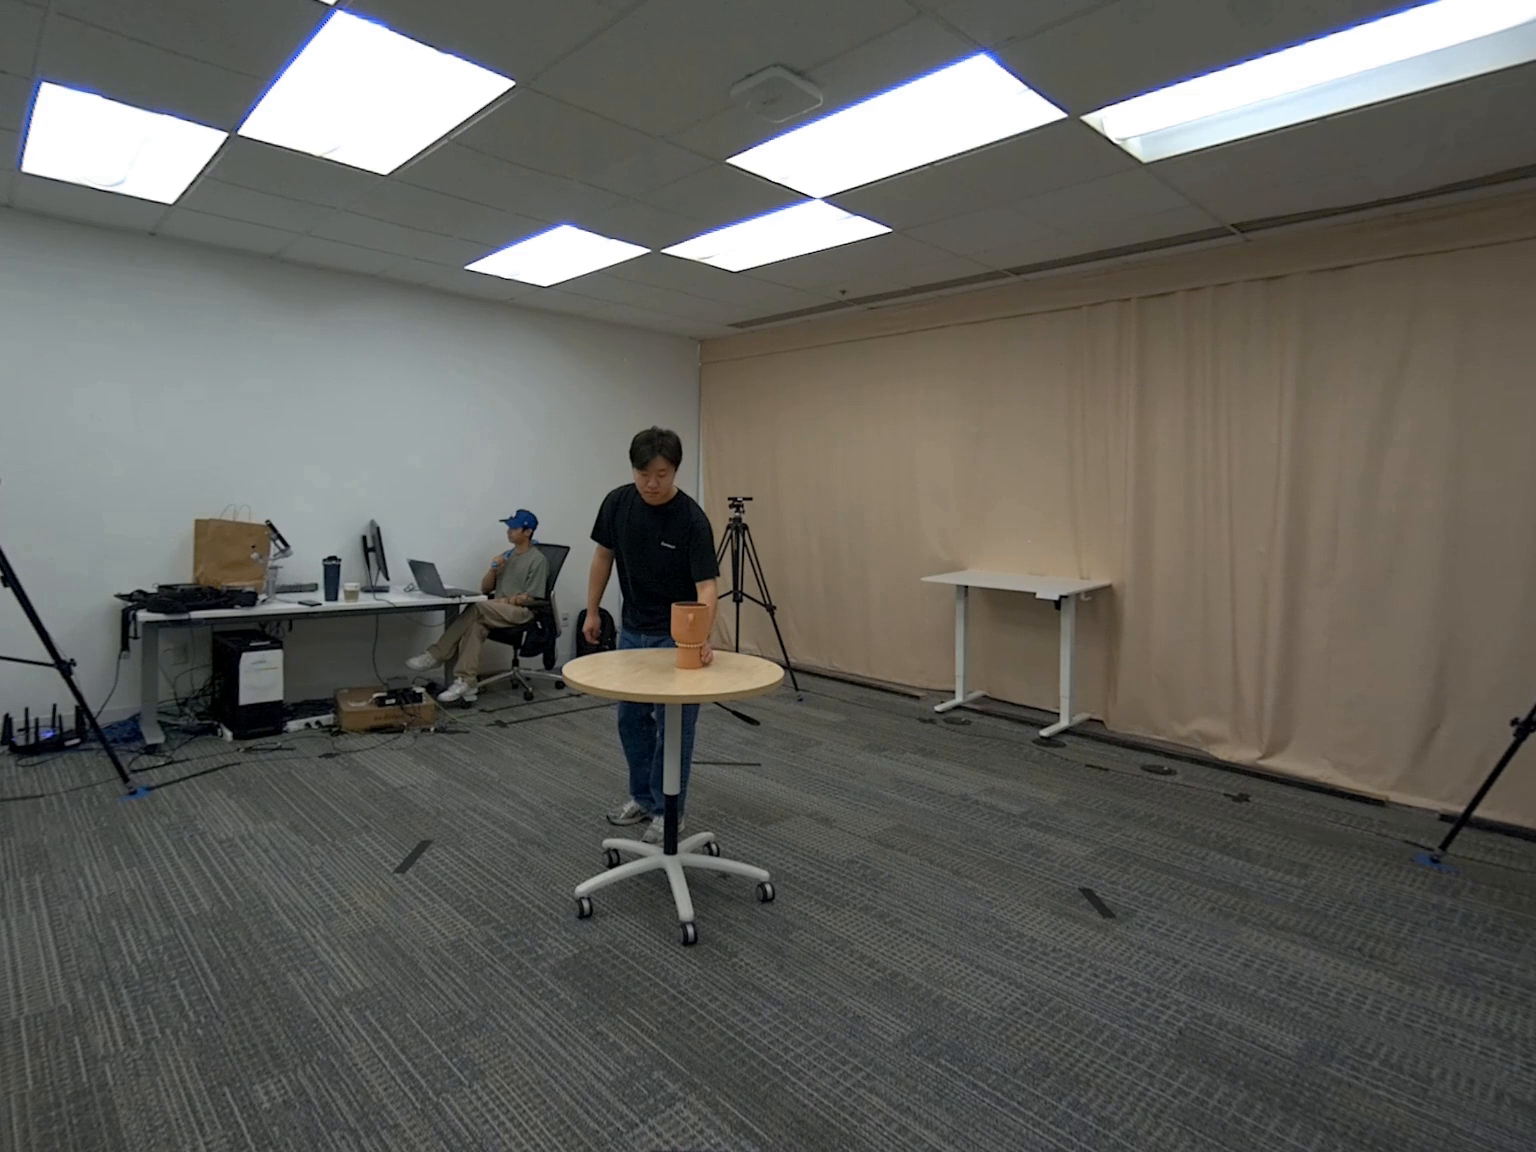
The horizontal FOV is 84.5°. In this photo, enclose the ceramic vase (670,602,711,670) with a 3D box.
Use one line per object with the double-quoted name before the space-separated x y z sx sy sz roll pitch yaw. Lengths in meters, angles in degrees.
"ceramic vase" -0.287 0.210 2.953 0.138 0.219 0.155 6 5 32
